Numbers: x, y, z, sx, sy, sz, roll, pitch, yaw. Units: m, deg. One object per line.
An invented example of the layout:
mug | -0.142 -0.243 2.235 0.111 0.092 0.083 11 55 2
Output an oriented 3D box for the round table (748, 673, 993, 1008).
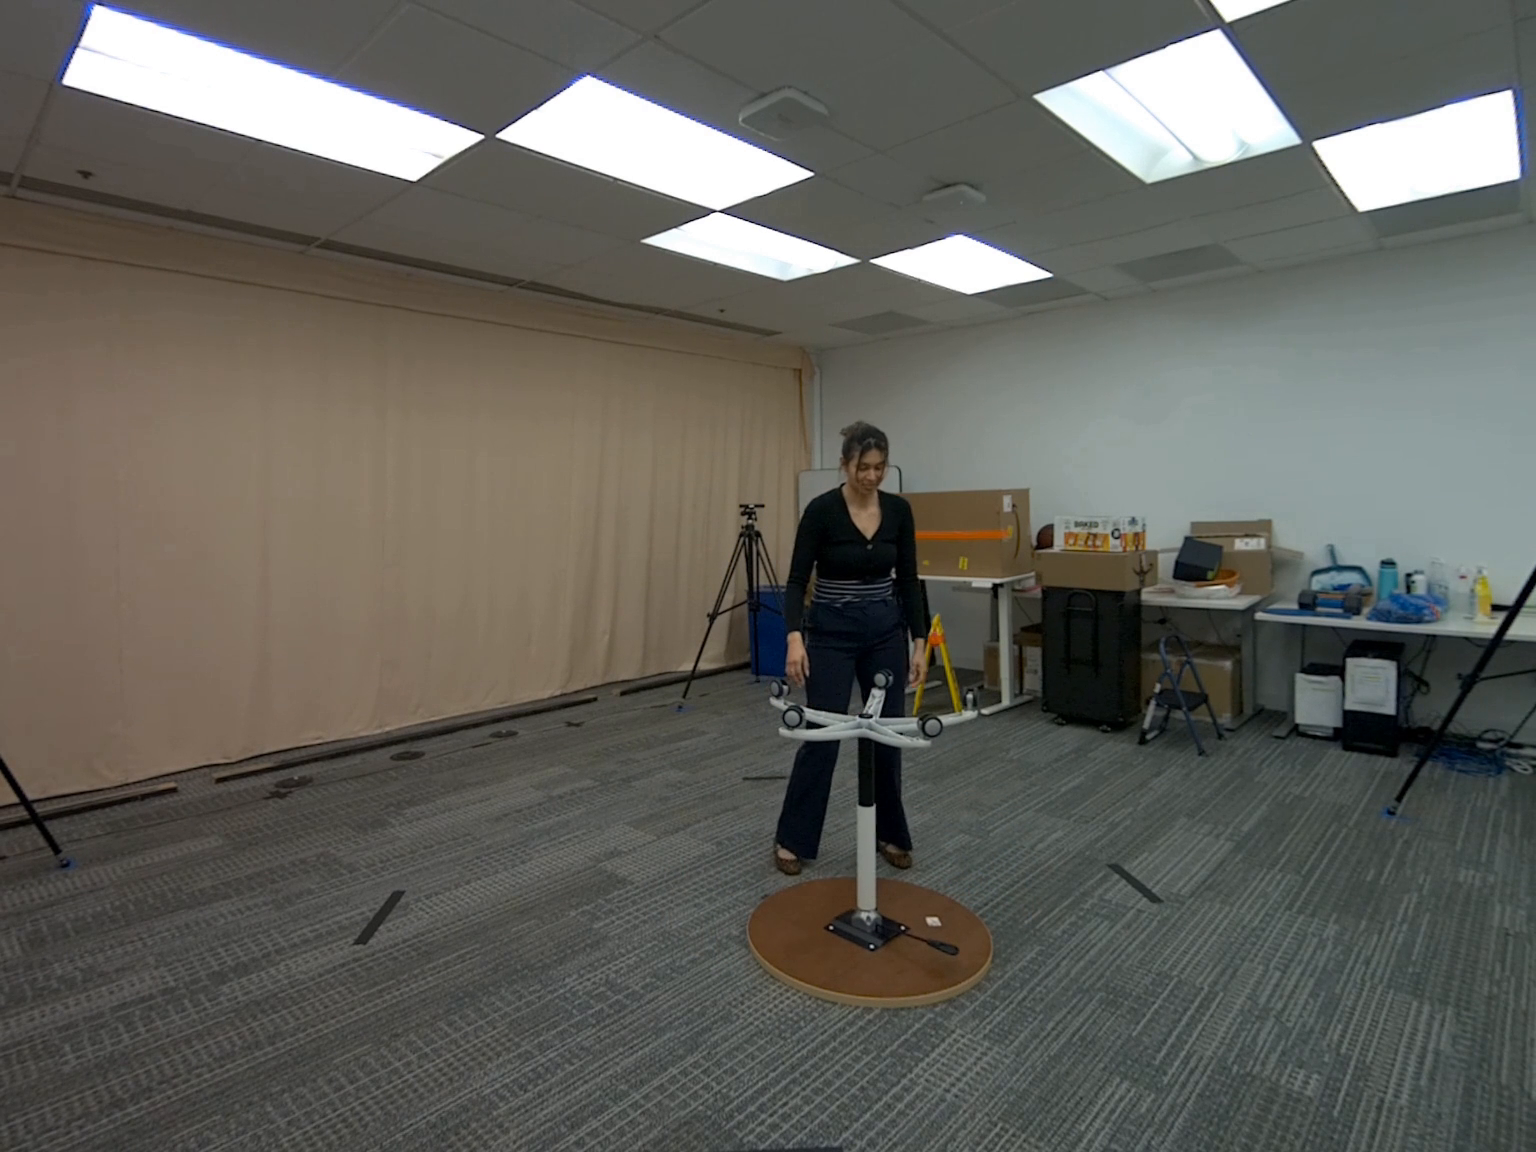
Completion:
round table | 0.312 0.766 2.678 0.763 0.792 0.767 -1 4 -2
